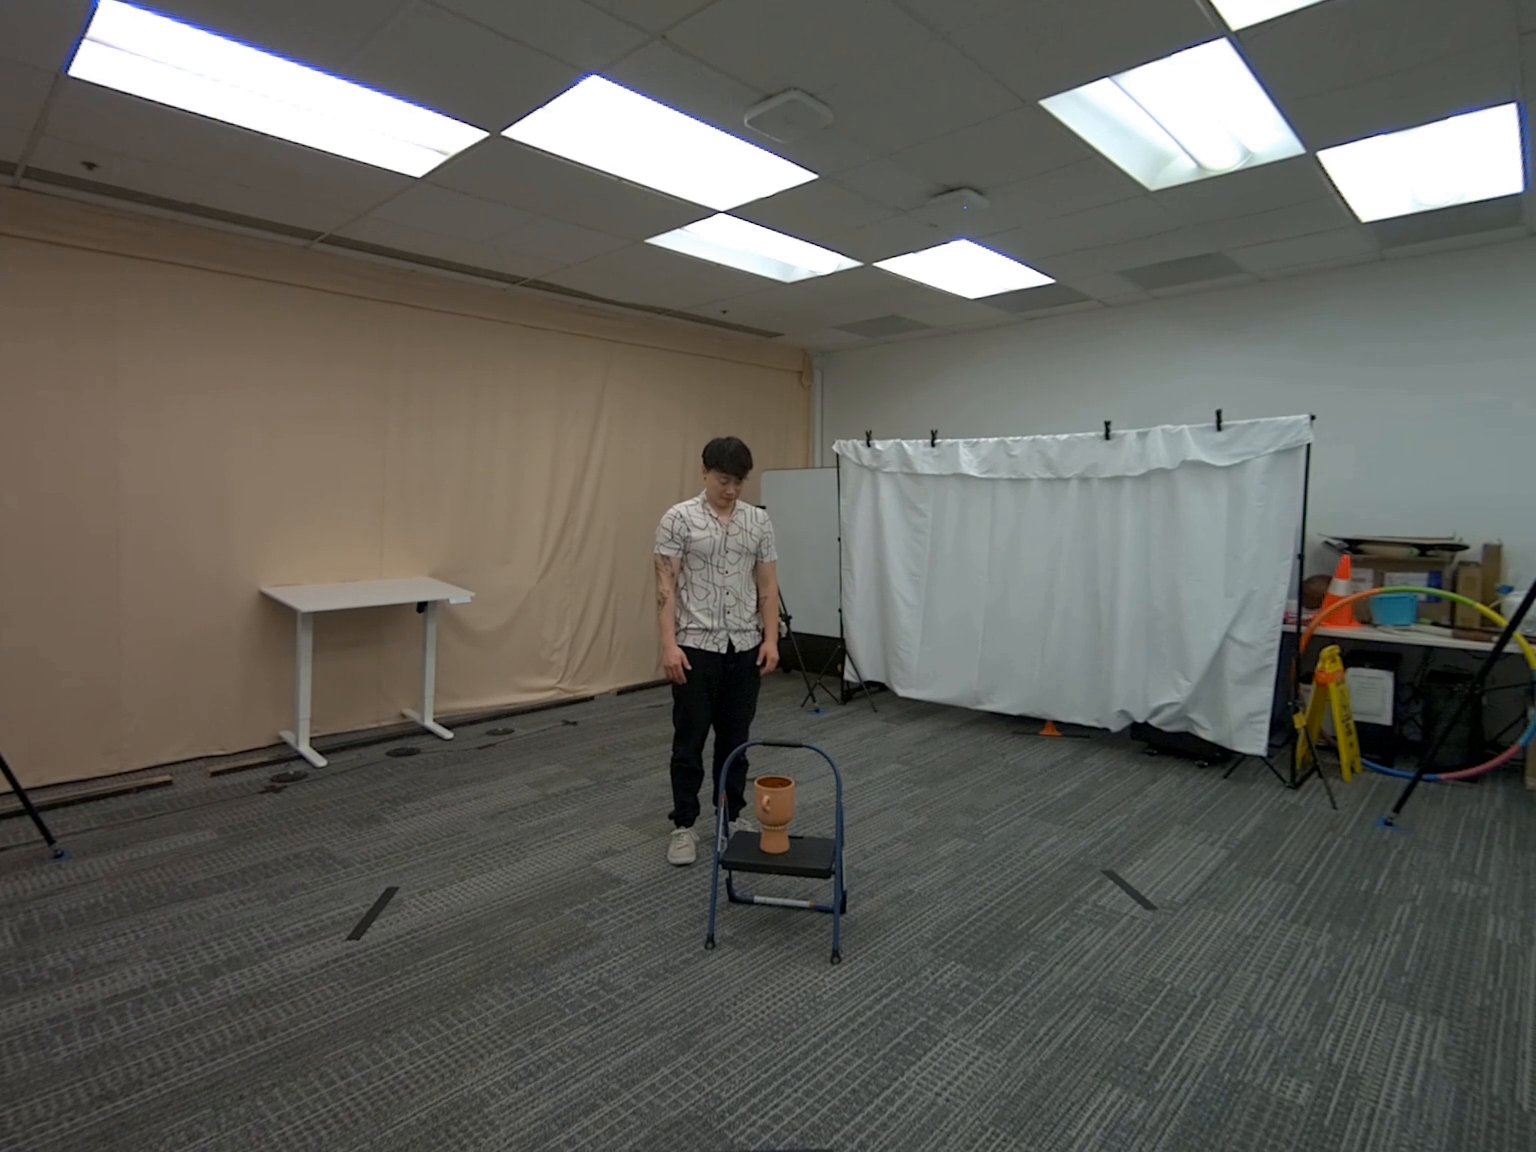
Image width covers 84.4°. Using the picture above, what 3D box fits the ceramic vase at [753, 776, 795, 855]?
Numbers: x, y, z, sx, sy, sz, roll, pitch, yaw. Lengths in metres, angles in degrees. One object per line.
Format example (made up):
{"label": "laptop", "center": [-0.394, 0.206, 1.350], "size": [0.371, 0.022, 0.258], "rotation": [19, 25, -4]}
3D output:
{"label": "ceramic vase", "center": [0.017, 0.781, 2.778], "size": [0.155, 0.219, 0.138], "rotation": [-3, 5, -30]}
